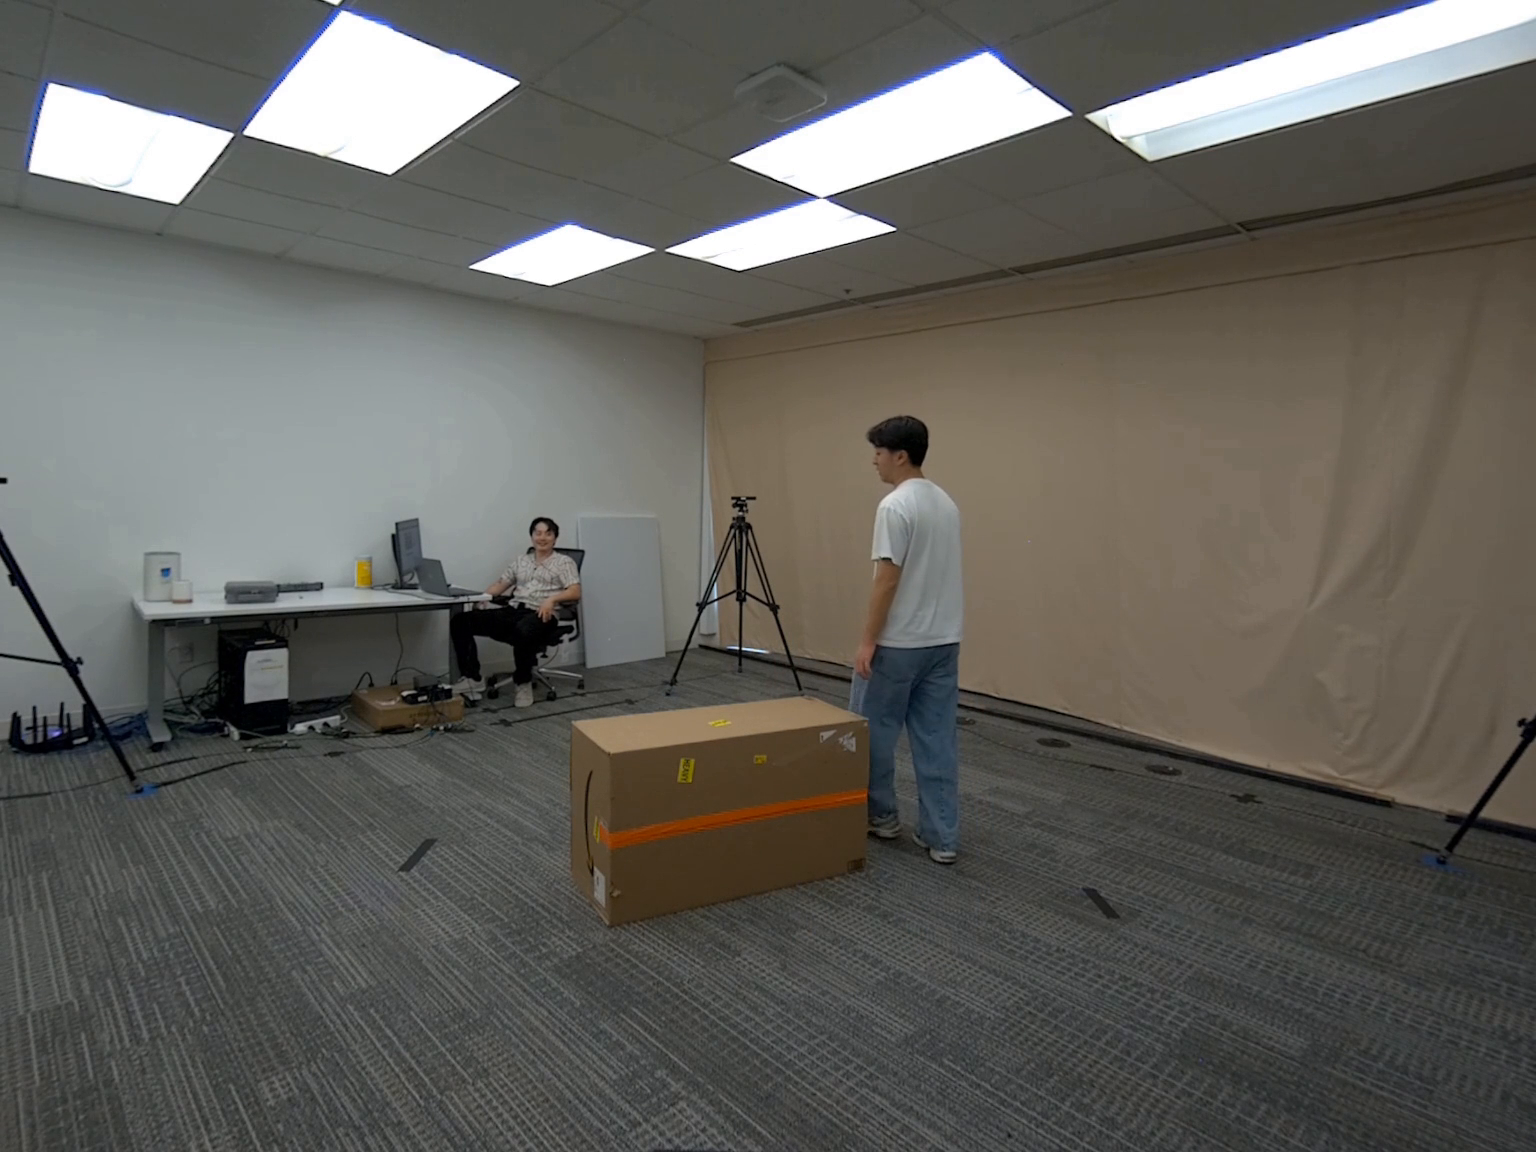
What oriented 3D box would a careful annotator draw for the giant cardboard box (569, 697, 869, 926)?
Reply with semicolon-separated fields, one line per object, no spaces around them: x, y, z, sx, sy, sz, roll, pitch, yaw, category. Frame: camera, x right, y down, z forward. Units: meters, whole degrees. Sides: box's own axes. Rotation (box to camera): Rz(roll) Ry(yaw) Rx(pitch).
-0.176;0.818;3.102;1.006;0.576;0.435;-1;4;-28;giant cardboard box
